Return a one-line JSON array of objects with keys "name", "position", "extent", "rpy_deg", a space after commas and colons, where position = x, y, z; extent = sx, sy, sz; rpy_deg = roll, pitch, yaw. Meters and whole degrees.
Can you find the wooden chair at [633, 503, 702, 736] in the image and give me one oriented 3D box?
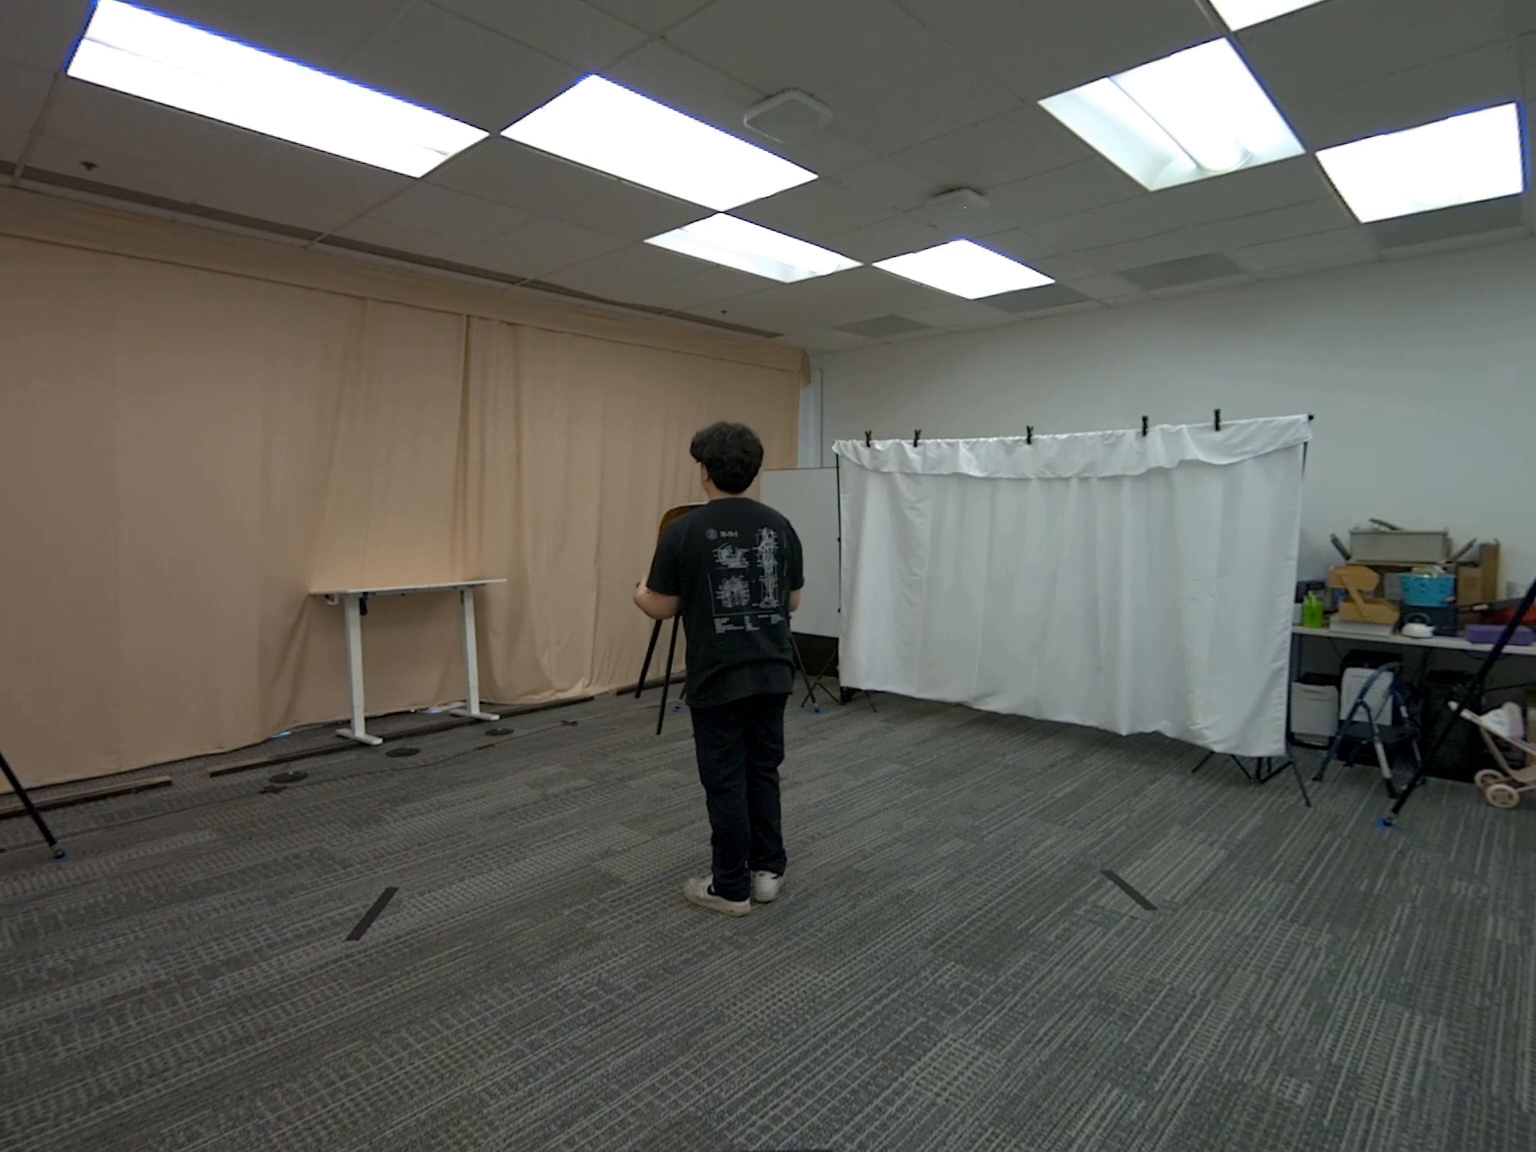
[{"name": "wooden chair", "position": [-0.272, 0.112, 3.262], "extent": [0.470, 0.871, 0.536], "rpy_deg": [-2, 13, -17]}]
